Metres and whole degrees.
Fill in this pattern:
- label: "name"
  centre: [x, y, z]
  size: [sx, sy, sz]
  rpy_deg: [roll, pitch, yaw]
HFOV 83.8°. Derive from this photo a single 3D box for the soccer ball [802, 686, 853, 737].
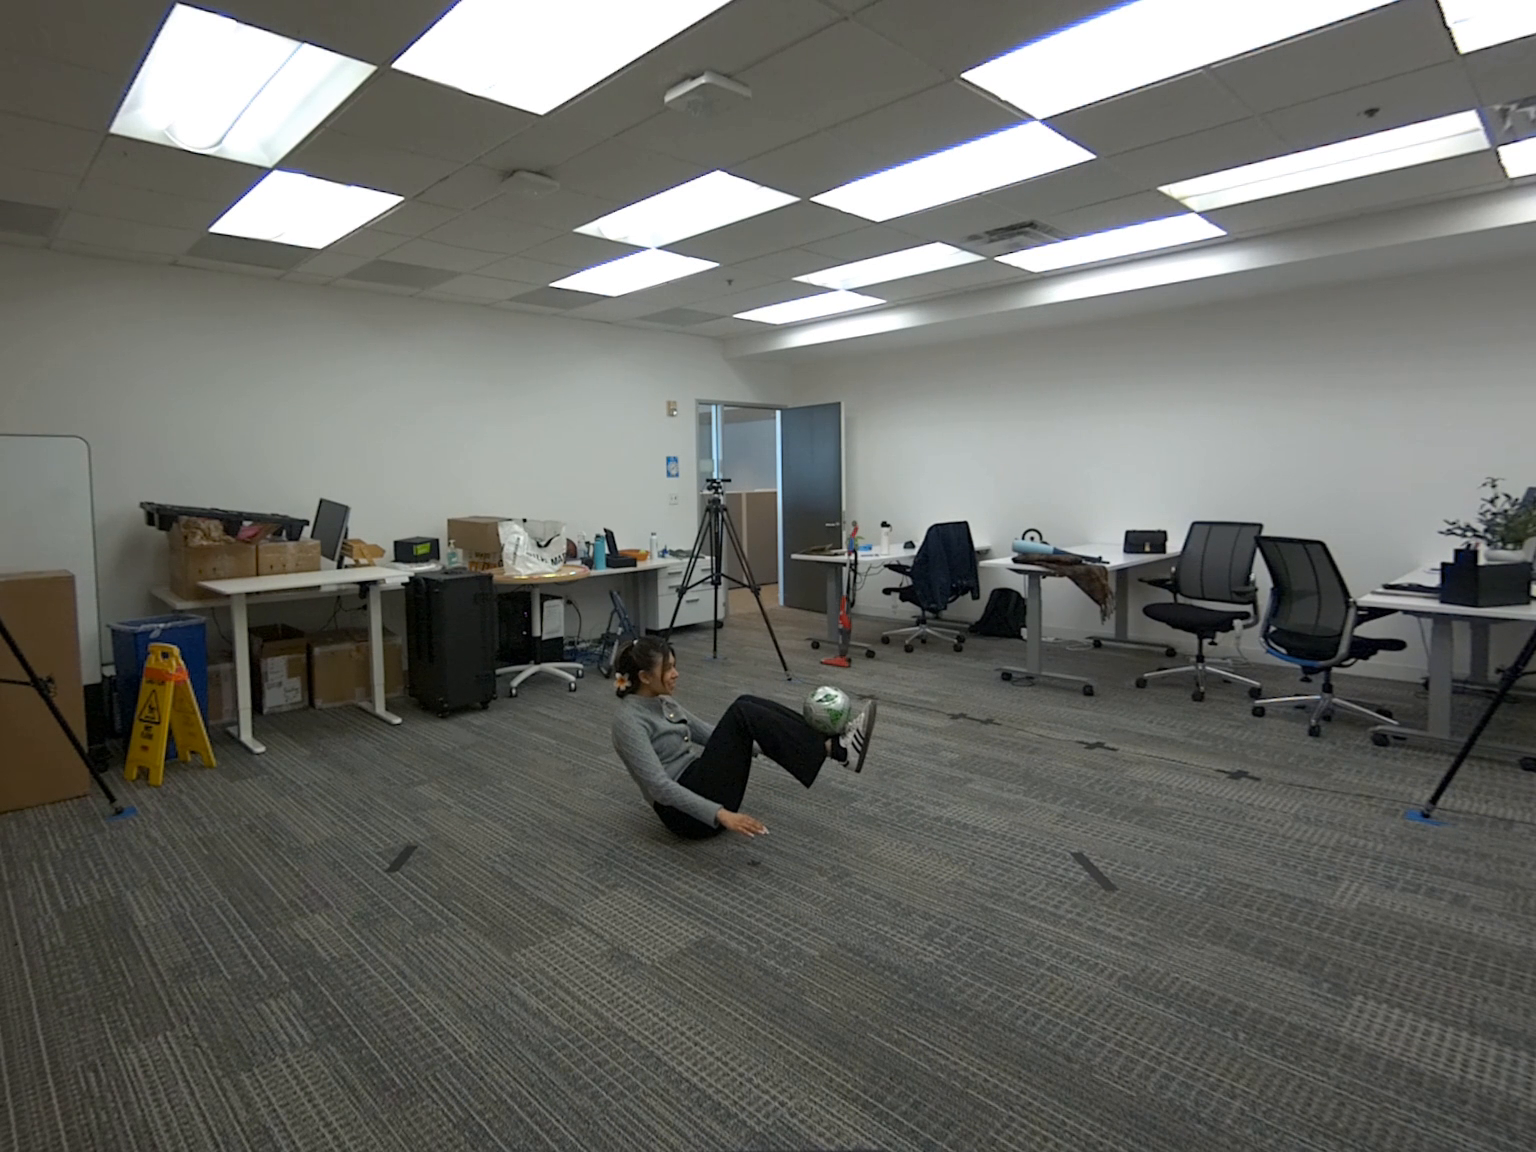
- label: "soccer ball"
  centre: [0.233, 0.520, 3.273]
  size: [0.187, 0.187, 0.188]
  rpy_deg: [-1, 5, -2]
